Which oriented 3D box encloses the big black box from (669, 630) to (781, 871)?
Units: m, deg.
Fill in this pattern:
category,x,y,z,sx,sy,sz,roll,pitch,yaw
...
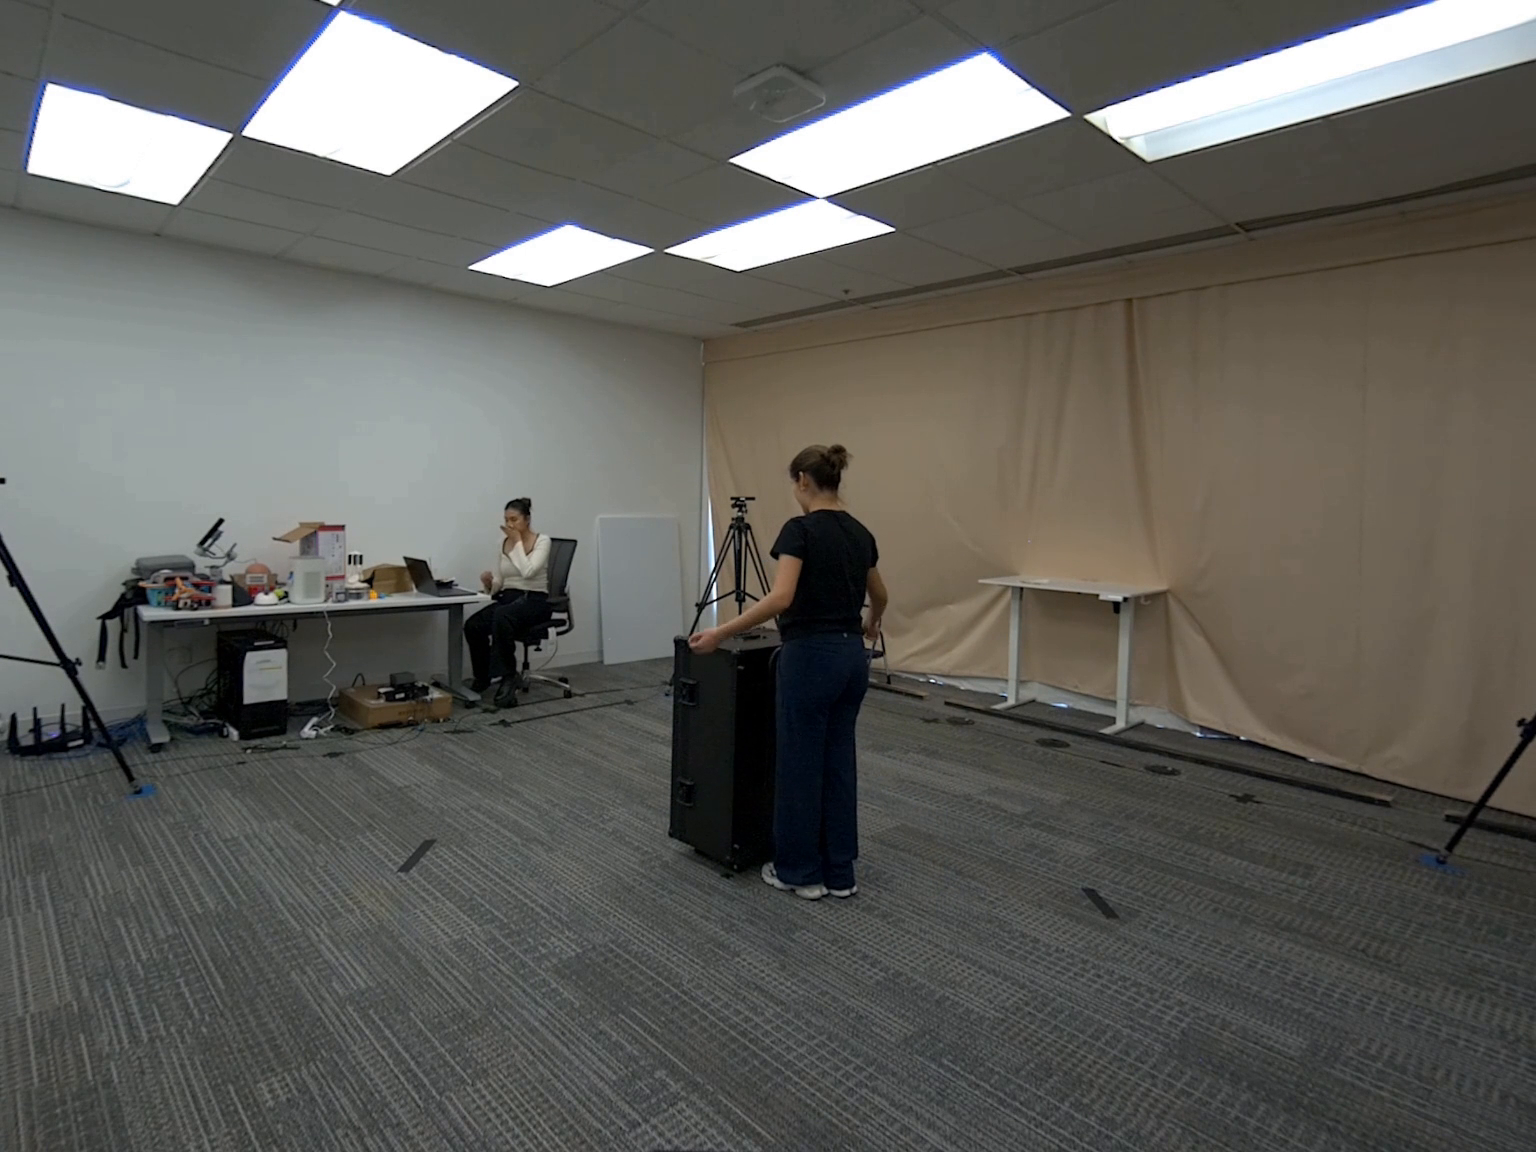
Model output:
category,x,y,z,sx,sy,sz,roll,pitch,yaw
big black box,-0.074,0.668,3.279,0.406,0.859,0.509,6,6,44
